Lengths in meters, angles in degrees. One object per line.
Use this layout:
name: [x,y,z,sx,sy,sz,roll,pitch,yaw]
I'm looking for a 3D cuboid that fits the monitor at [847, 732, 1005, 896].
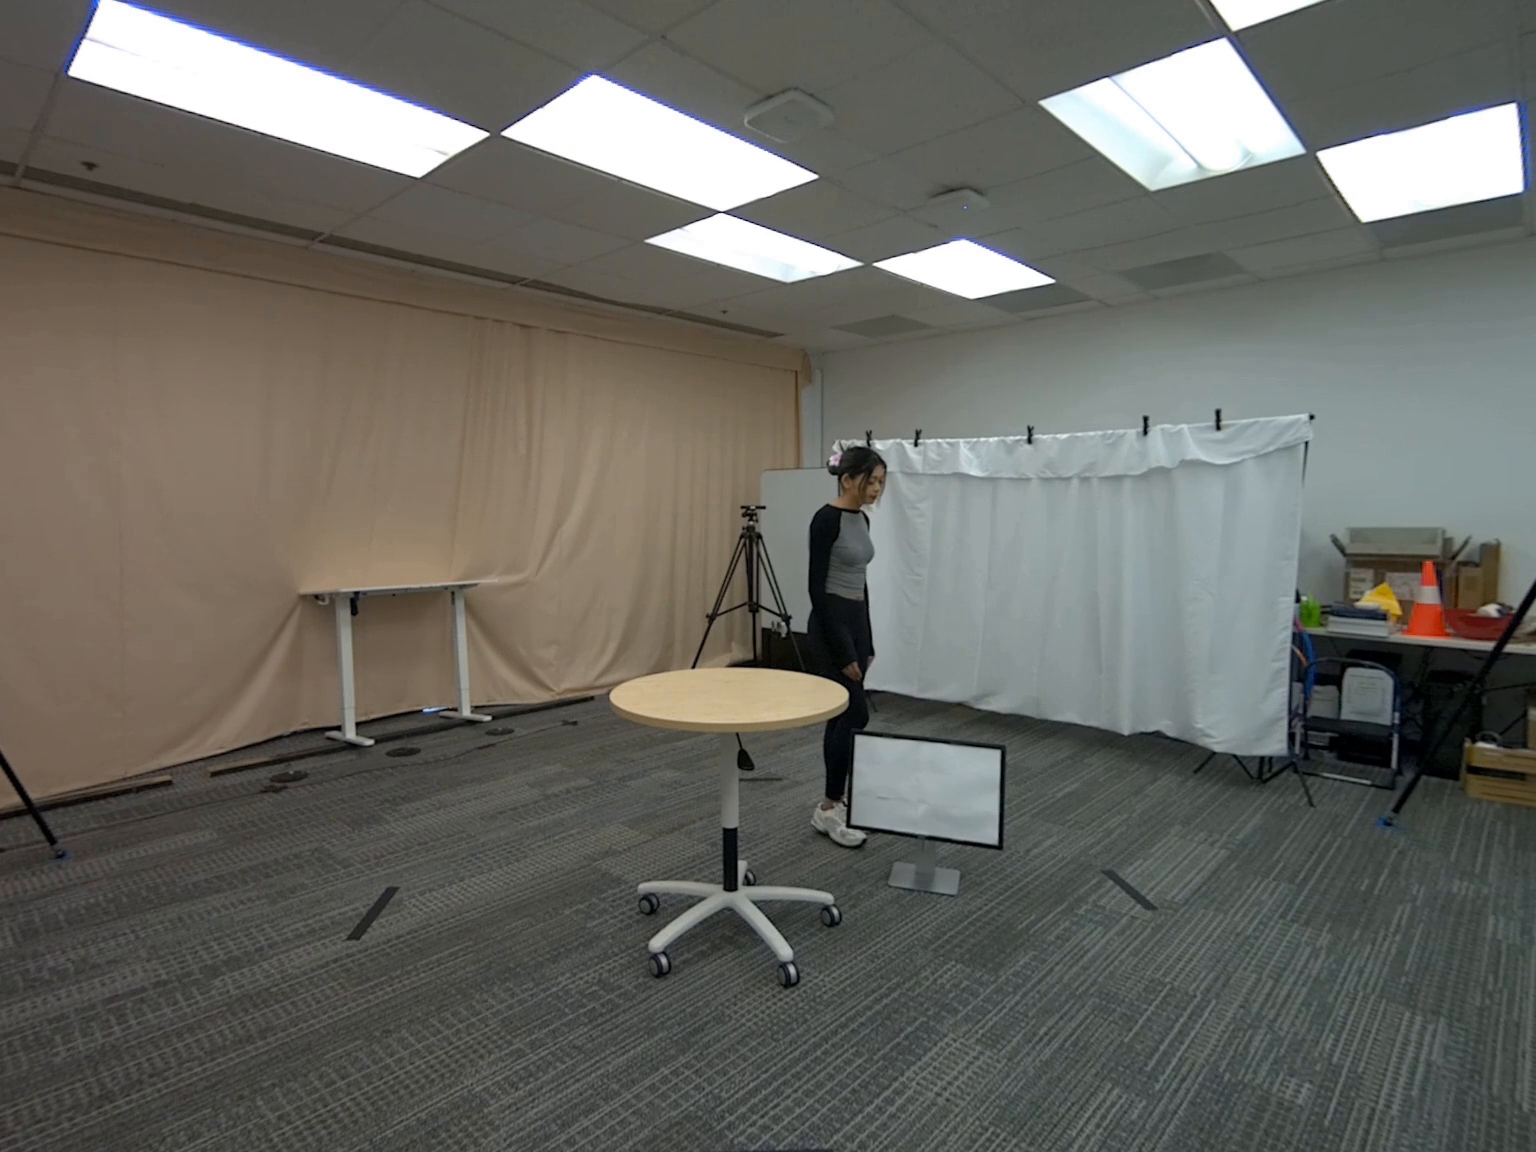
monitor: [0.593,0.866,3.115,0.550,0.521,0.184,2,5,19]
